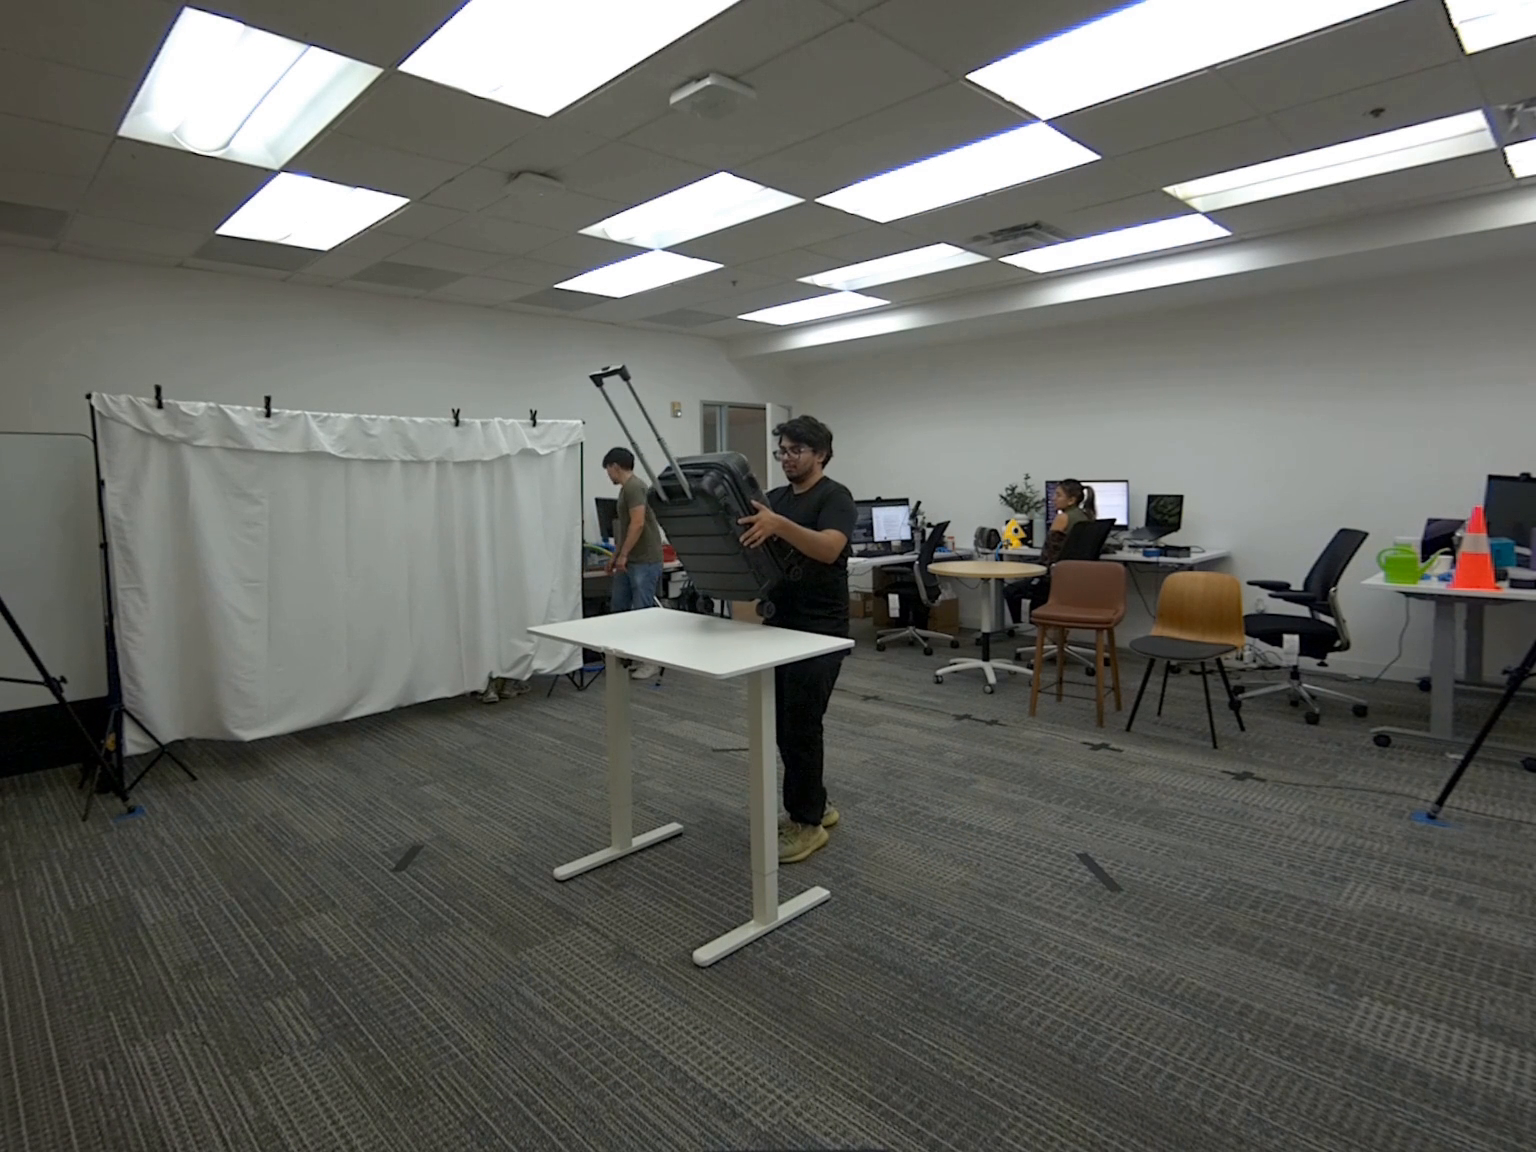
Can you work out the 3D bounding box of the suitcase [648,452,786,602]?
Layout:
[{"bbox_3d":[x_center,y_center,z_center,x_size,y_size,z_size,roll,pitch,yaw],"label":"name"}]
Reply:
[{"bbox_3d":[-0.244,-0.321,2.908,0.395,0.952,0.256,0,34,43],"label":"suitcase"}]
